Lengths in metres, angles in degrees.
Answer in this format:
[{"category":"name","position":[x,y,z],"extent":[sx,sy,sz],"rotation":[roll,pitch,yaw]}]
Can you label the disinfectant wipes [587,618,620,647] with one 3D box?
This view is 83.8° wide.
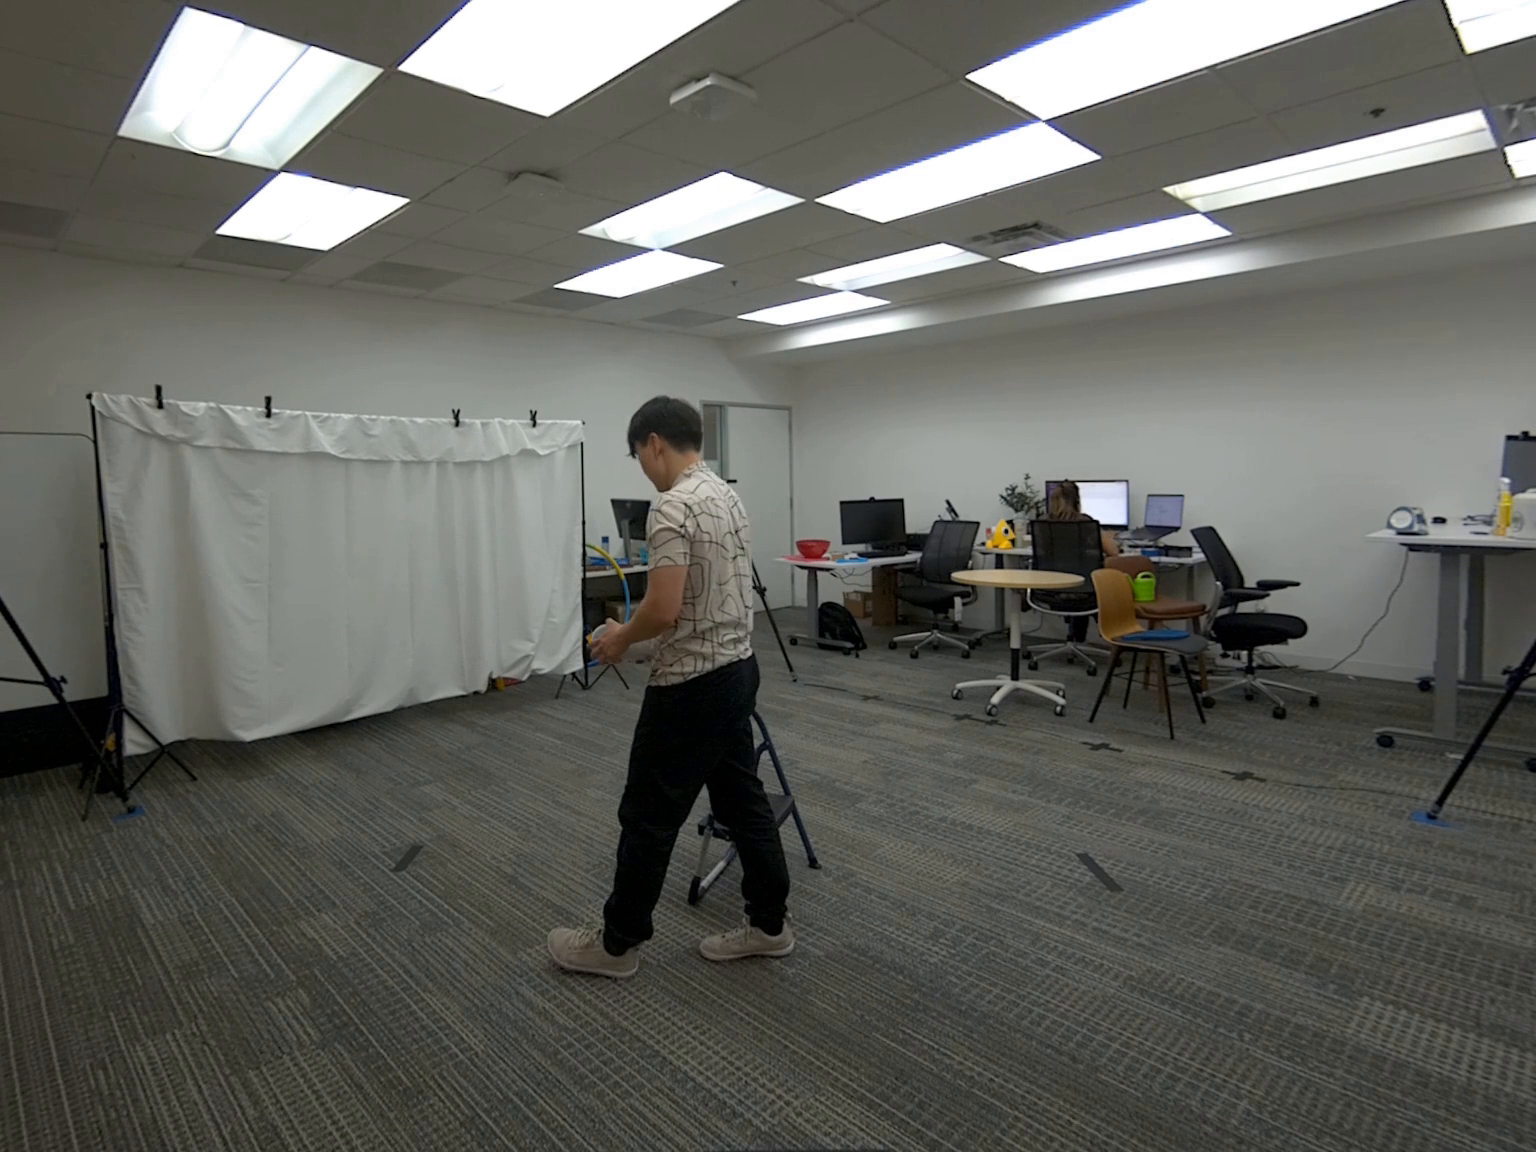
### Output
[{"category":"disinfectant wipes","position":[-0.426,0.198,2.558],"extent":[0.120,0.118,0.212],"rotation":[1,-7,21]}]
